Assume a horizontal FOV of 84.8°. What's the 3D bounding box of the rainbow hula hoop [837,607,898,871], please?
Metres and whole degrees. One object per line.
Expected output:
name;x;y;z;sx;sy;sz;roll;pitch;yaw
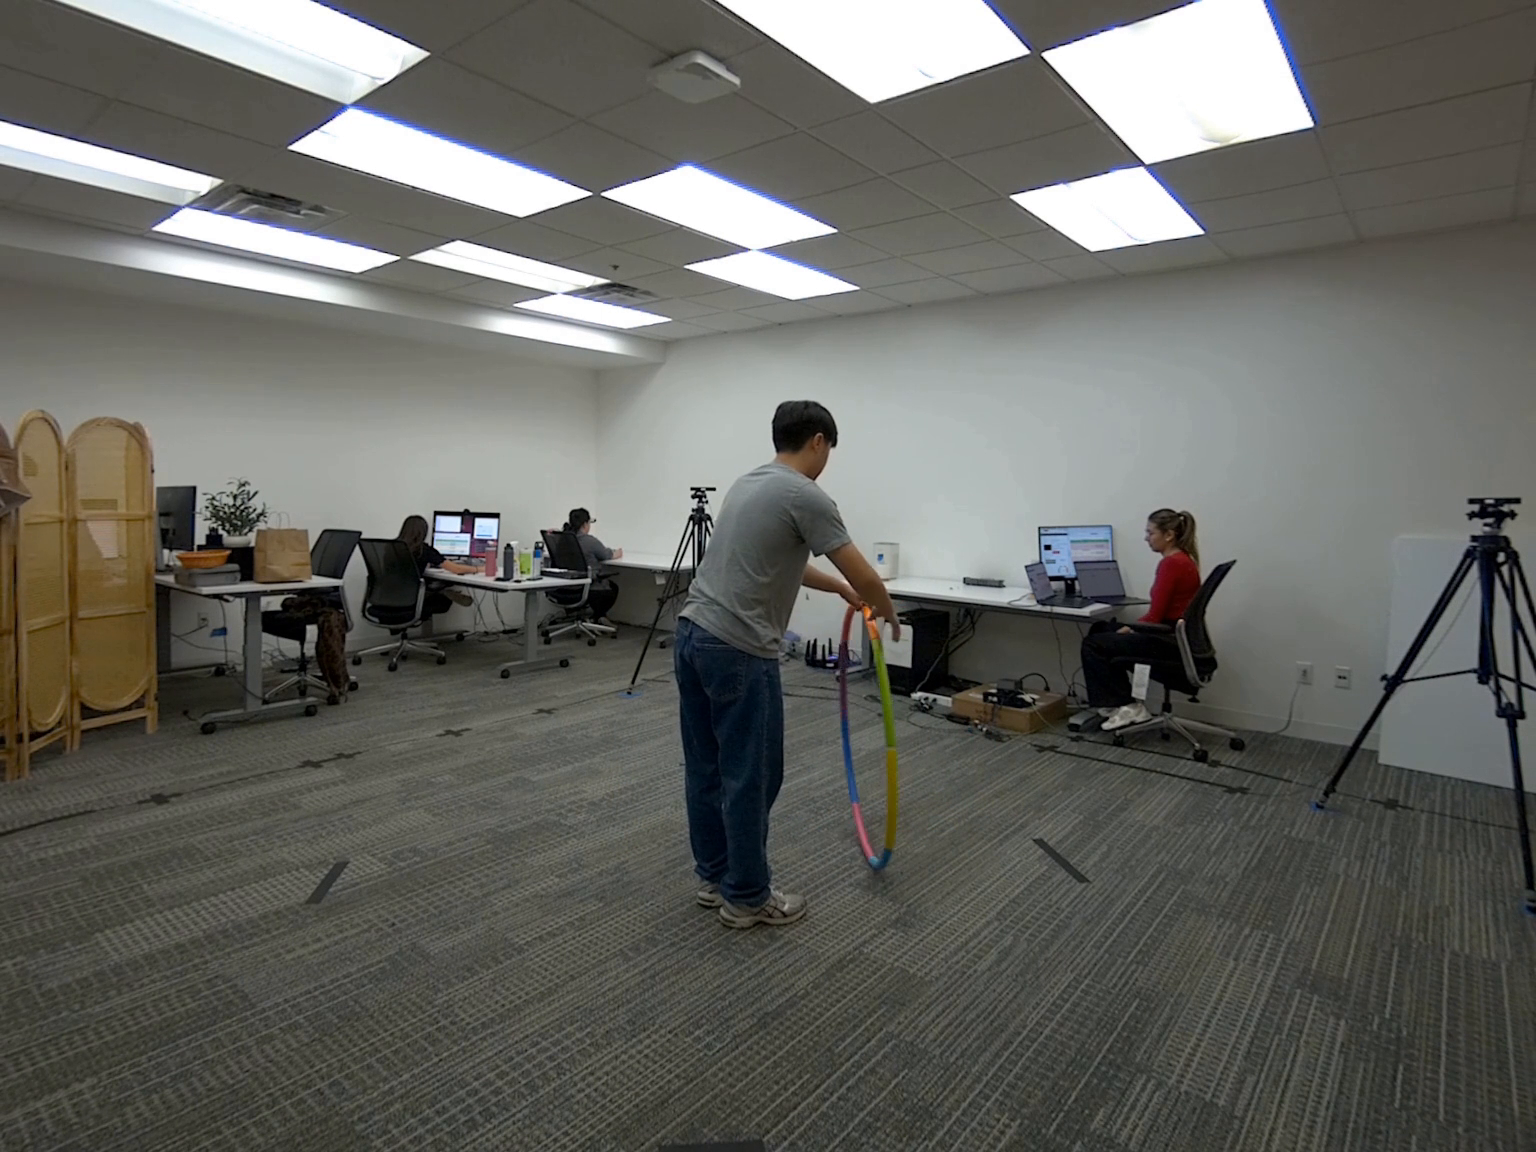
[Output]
rainbow hula hoop;0.359;0.581;3.212;0.035;0.975;0.985;-3;4;-5
